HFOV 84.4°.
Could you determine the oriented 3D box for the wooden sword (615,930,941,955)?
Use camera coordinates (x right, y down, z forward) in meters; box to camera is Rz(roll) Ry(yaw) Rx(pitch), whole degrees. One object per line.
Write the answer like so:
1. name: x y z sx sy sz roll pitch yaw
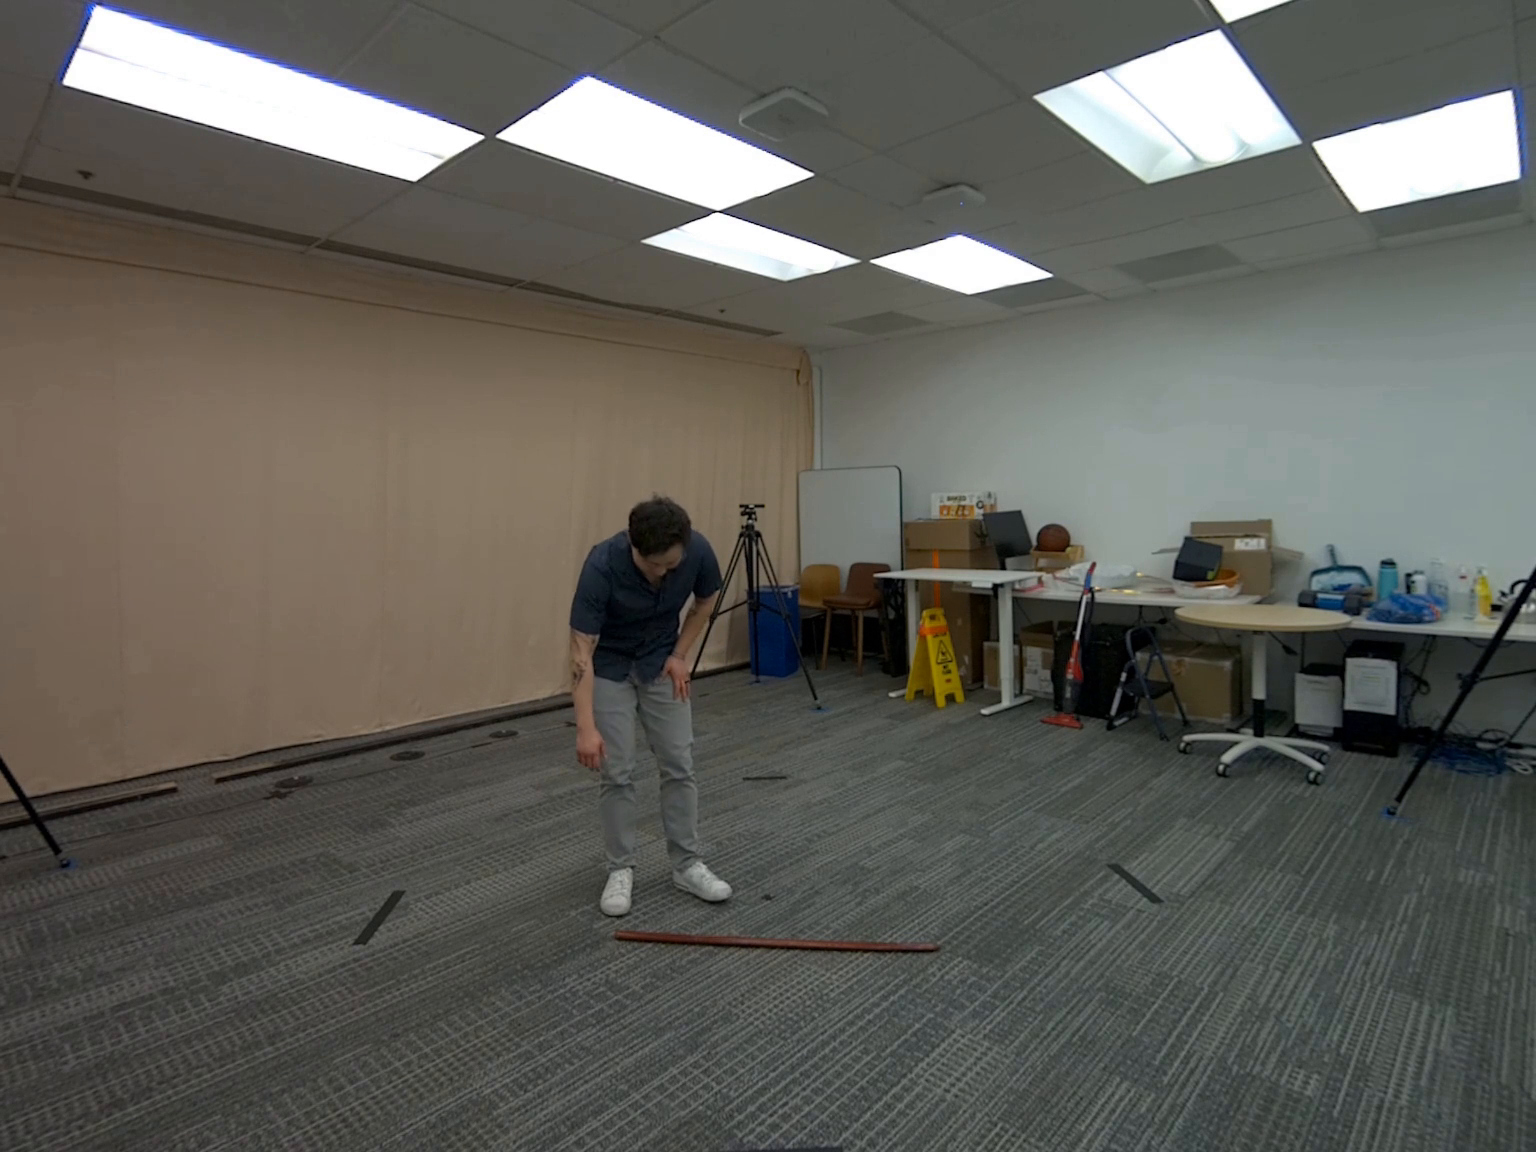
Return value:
1. wooden sword: 0.033 1.145 2.661 1.032 0.024 0.051 0 -2 6
